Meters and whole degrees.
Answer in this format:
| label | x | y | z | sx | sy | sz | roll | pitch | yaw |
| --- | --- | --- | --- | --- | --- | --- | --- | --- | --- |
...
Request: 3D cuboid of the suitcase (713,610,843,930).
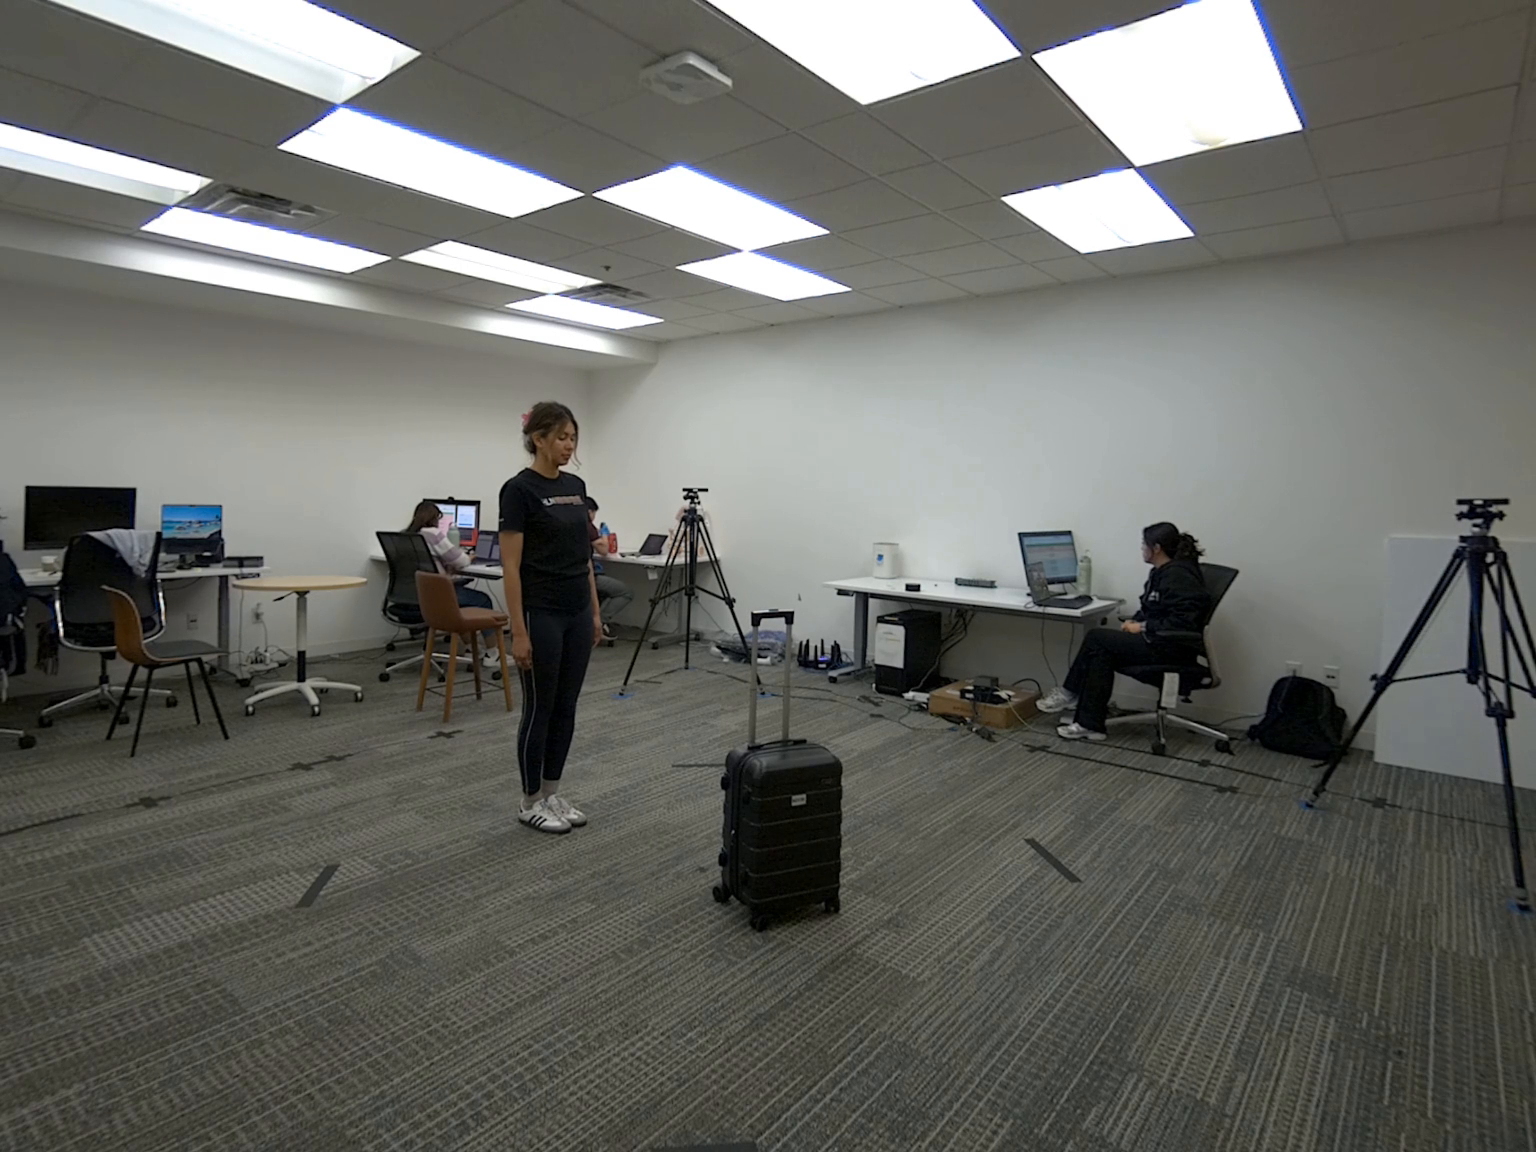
| label | x | y | z | sx | sy | sz | roll | pitch | yaw |
| --- | --- | --- | --- | --- | --- | --- | --- | --- | --- |
| suitcase | 0.048 | 0.624 | 2.800 | 0.375 | 0.974 | 0.264 | 0 | 6 | -24 |
